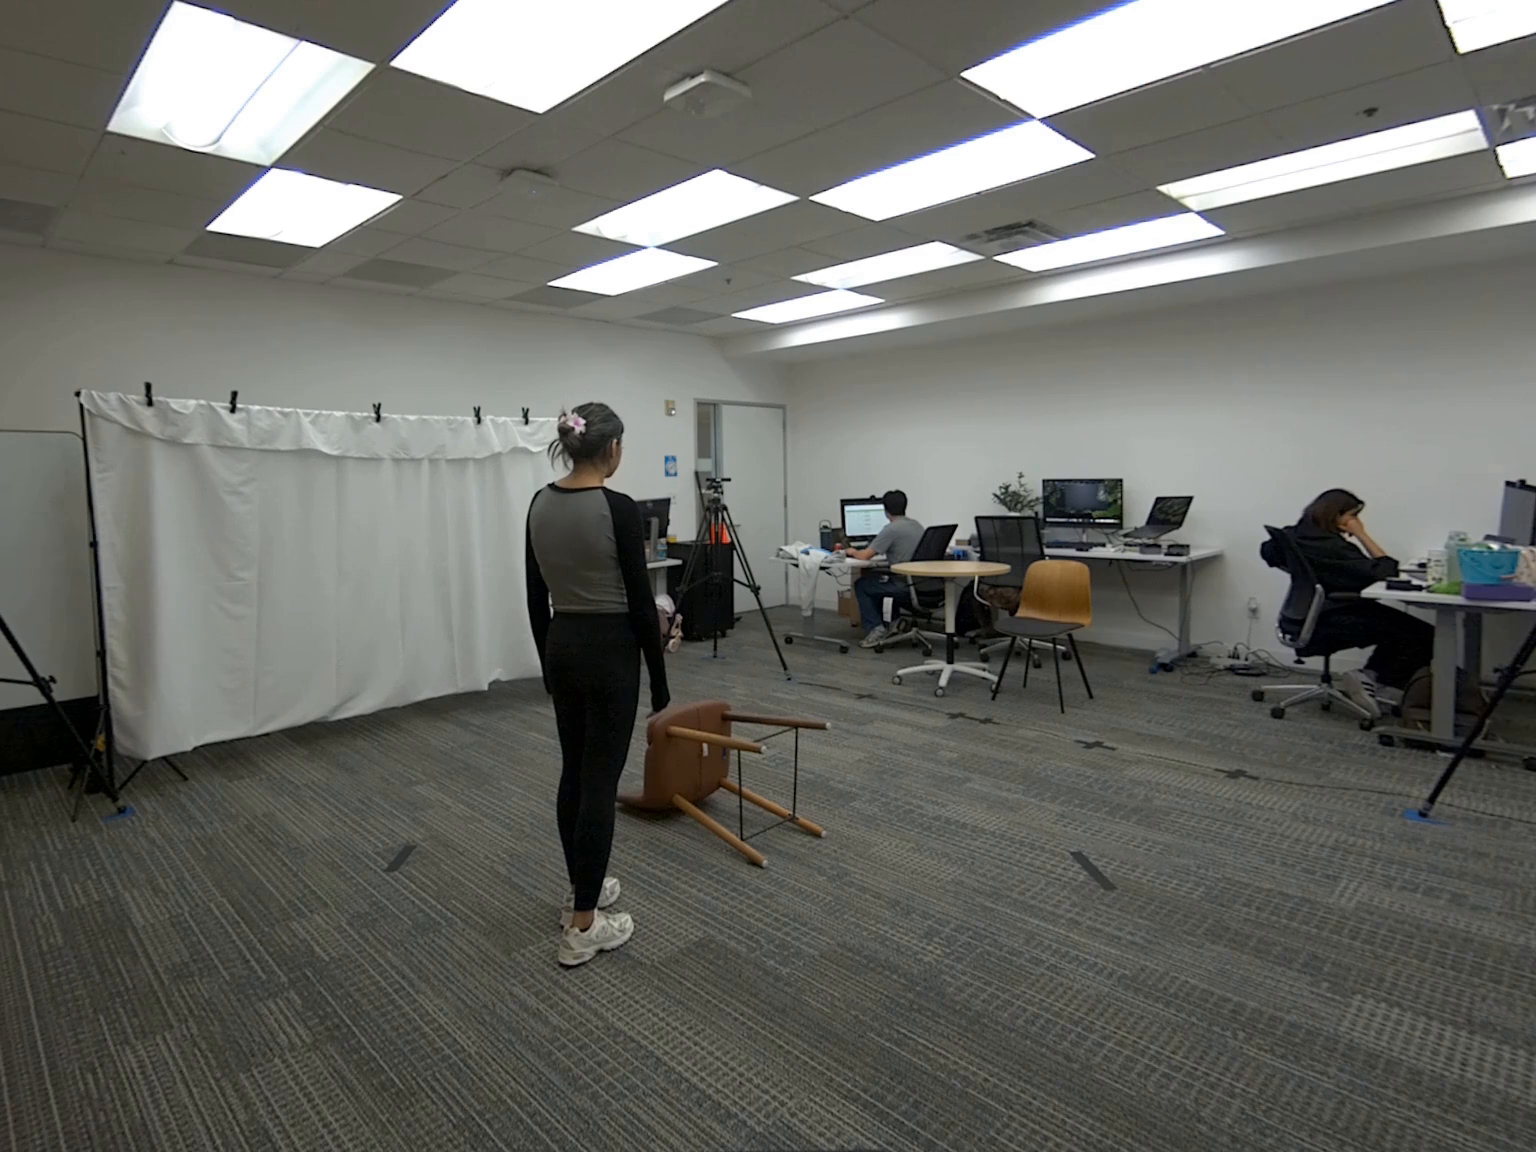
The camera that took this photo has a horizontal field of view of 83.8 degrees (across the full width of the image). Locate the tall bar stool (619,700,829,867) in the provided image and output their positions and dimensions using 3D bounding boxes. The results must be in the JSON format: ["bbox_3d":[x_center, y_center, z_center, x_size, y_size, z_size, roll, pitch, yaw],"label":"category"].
[{"bbox_3d":[-0.222,0.775,3.475,0.917,0.466,0.445,4,7,43],"label":"tall bar stool"}]
